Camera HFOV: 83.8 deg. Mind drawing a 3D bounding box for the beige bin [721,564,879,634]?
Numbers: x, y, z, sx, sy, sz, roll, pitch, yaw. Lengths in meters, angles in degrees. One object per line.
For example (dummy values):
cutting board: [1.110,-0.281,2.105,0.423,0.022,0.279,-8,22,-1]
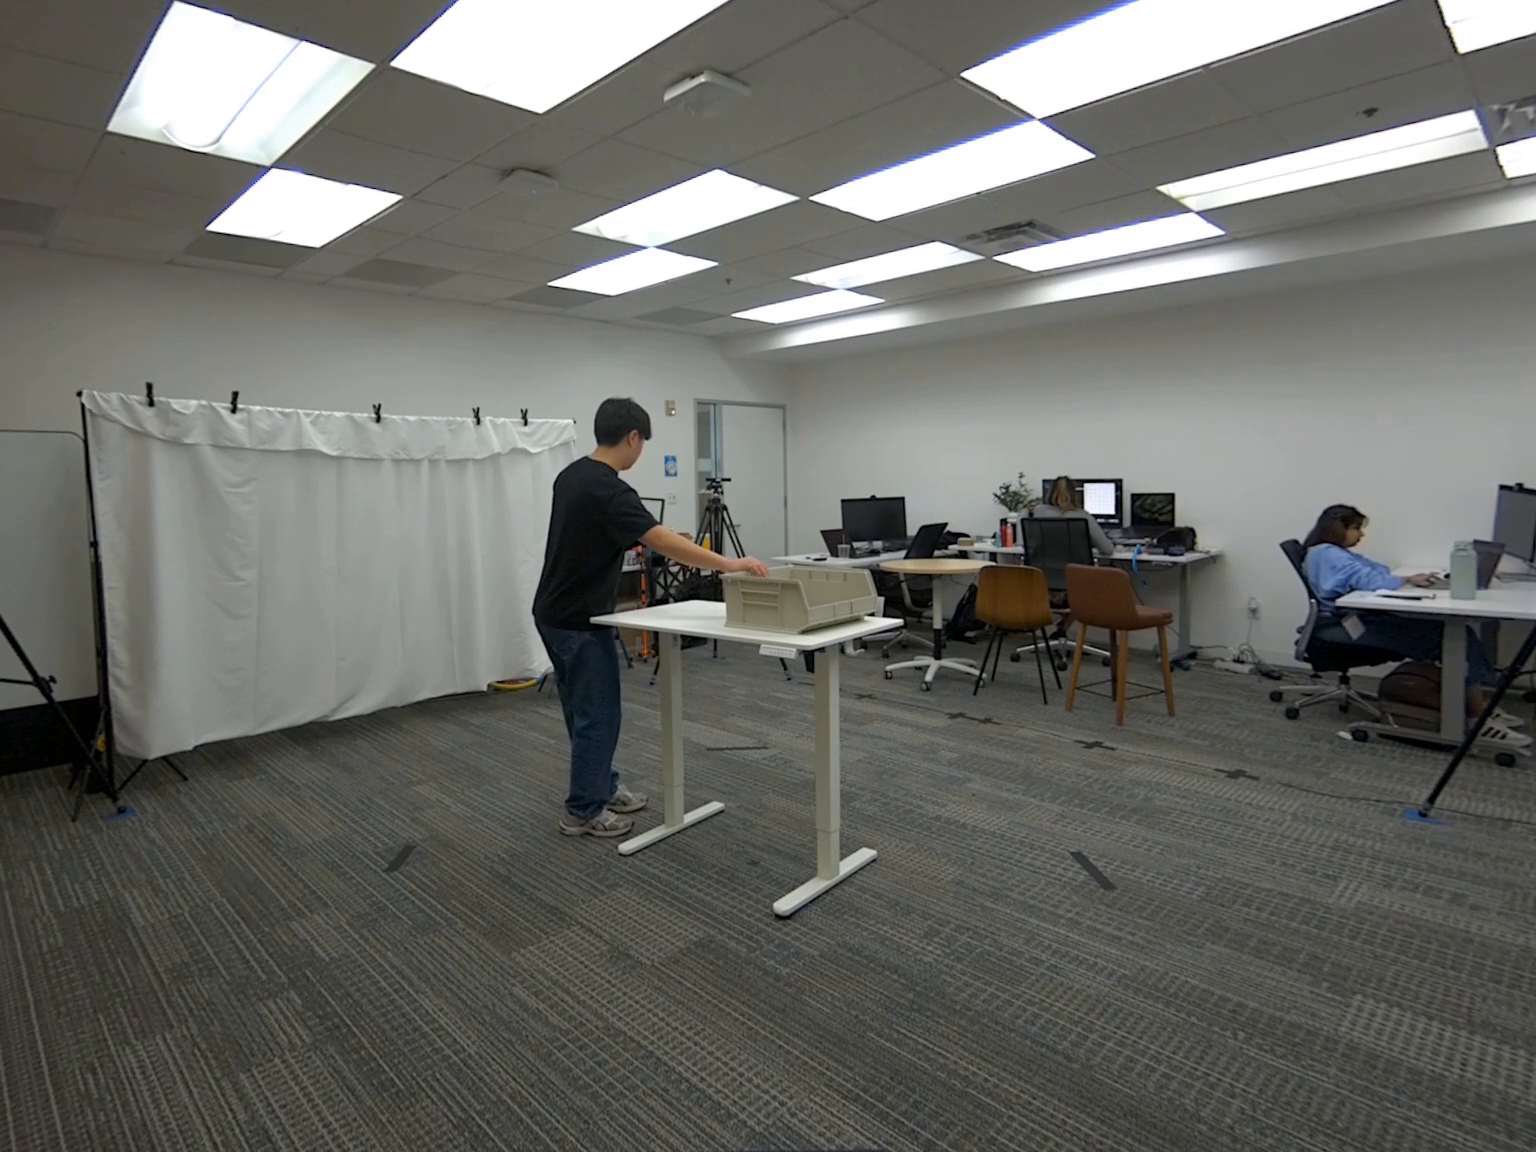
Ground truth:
beige bin: [0.123,0.081,2.986,0.388,0.188,0.411,2,7,40]
